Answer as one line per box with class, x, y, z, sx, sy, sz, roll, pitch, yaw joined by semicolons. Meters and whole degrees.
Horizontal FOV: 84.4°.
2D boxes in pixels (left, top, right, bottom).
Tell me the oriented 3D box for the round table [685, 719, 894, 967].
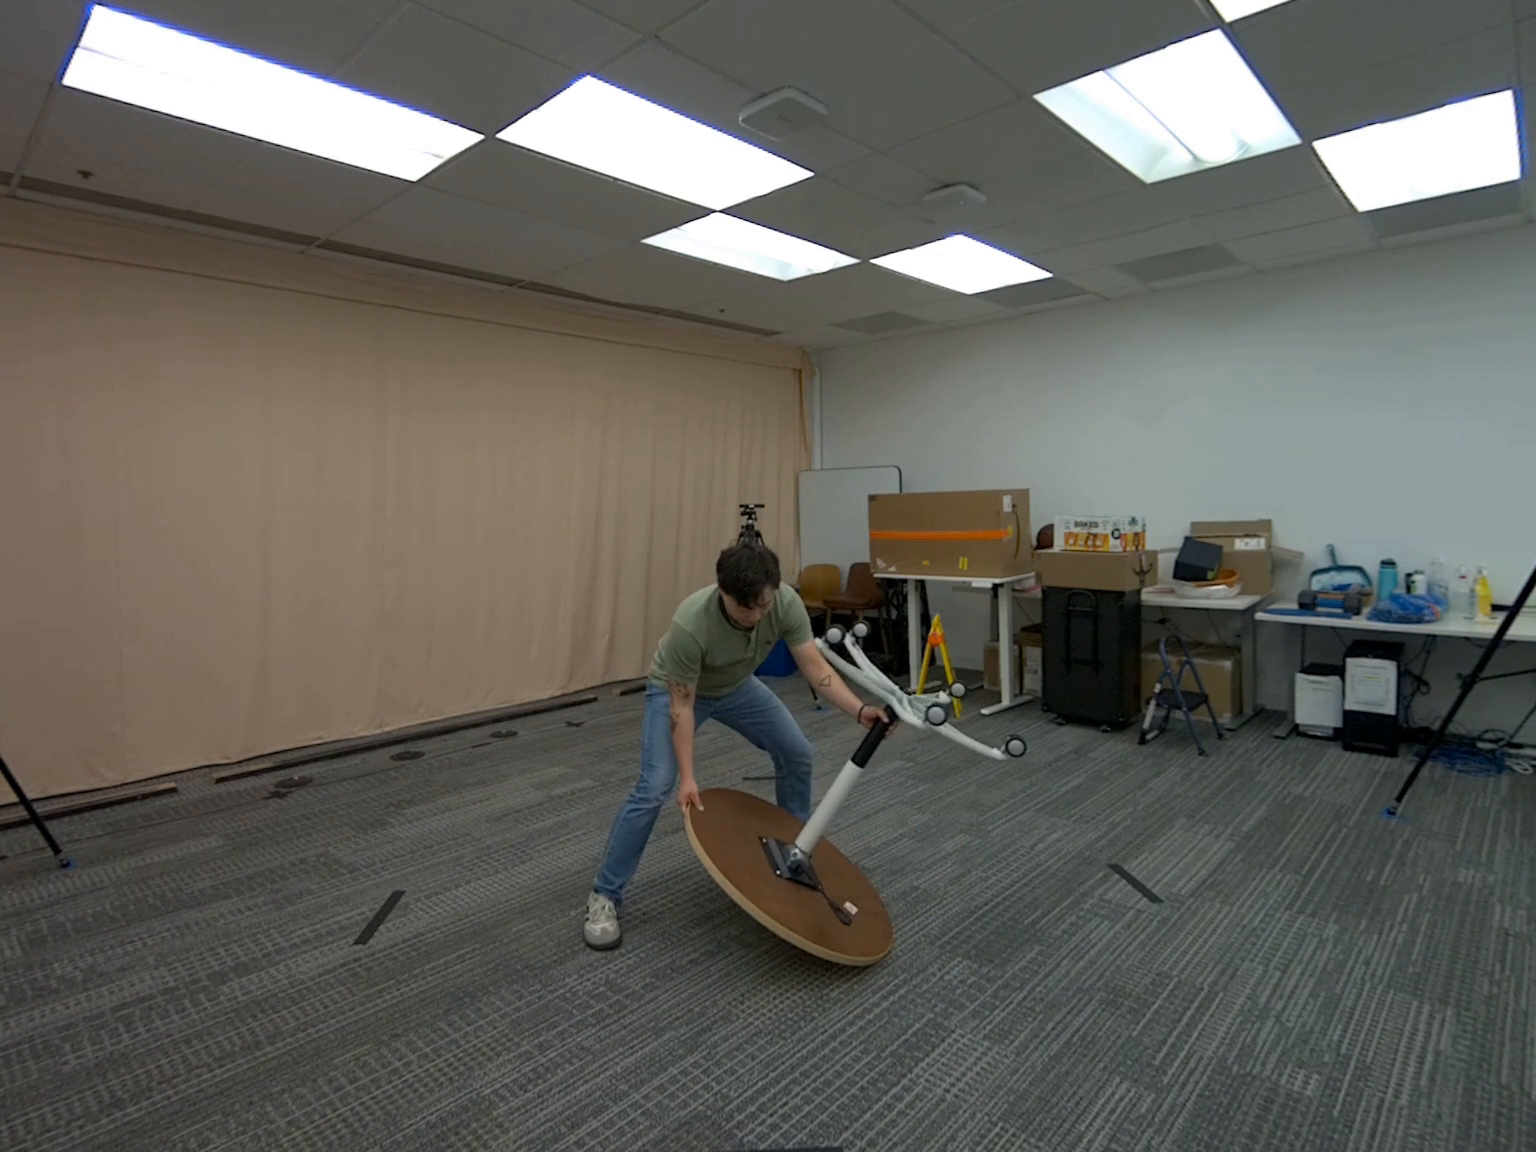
round table;0.269;0.628;2.671;0.759;0.794;0.769;30;7;-6
